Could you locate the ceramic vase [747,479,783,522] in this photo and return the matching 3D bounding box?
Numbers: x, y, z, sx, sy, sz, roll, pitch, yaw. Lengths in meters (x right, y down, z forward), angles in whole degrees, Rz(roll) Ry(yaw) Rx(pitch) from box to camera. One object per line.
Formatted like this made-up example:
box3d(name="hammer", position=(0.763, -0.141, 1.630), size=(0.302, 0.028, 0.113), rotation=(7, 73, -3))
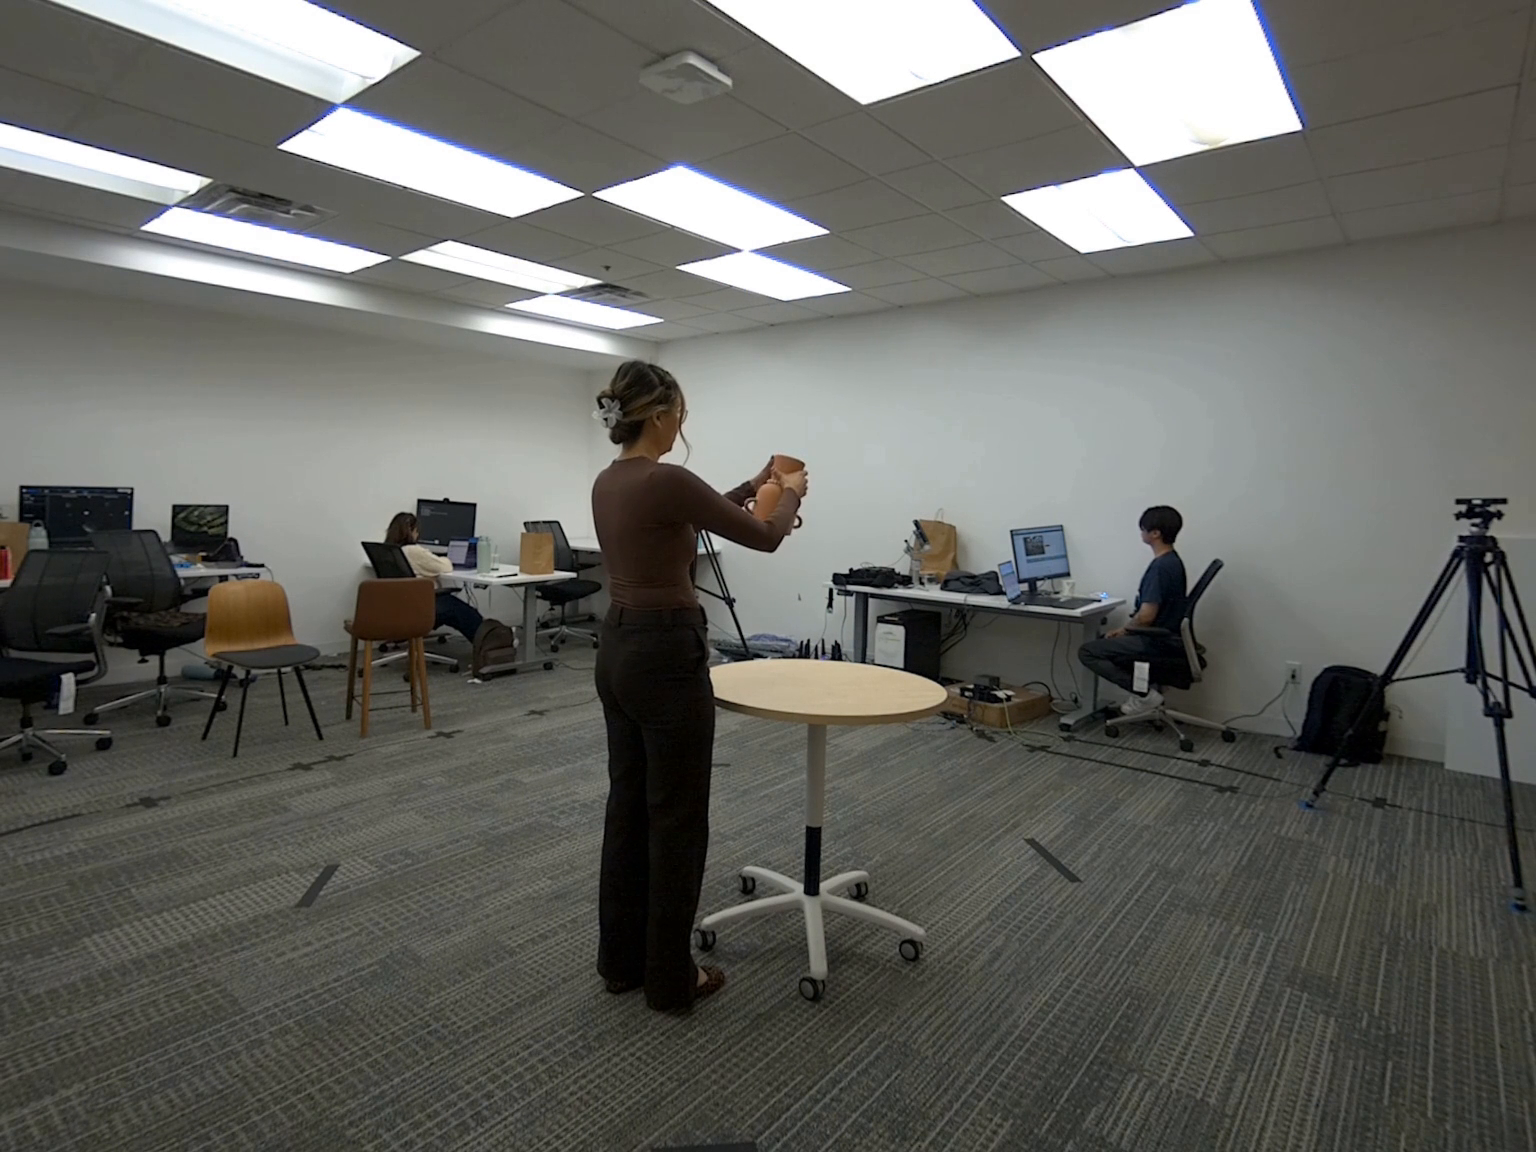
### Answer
box3d(name="ceramic vase", position=(0.024, -0.246, 2.541), size=(0.139, 0.220, 0.154), rotation=(16, -3, 25))
